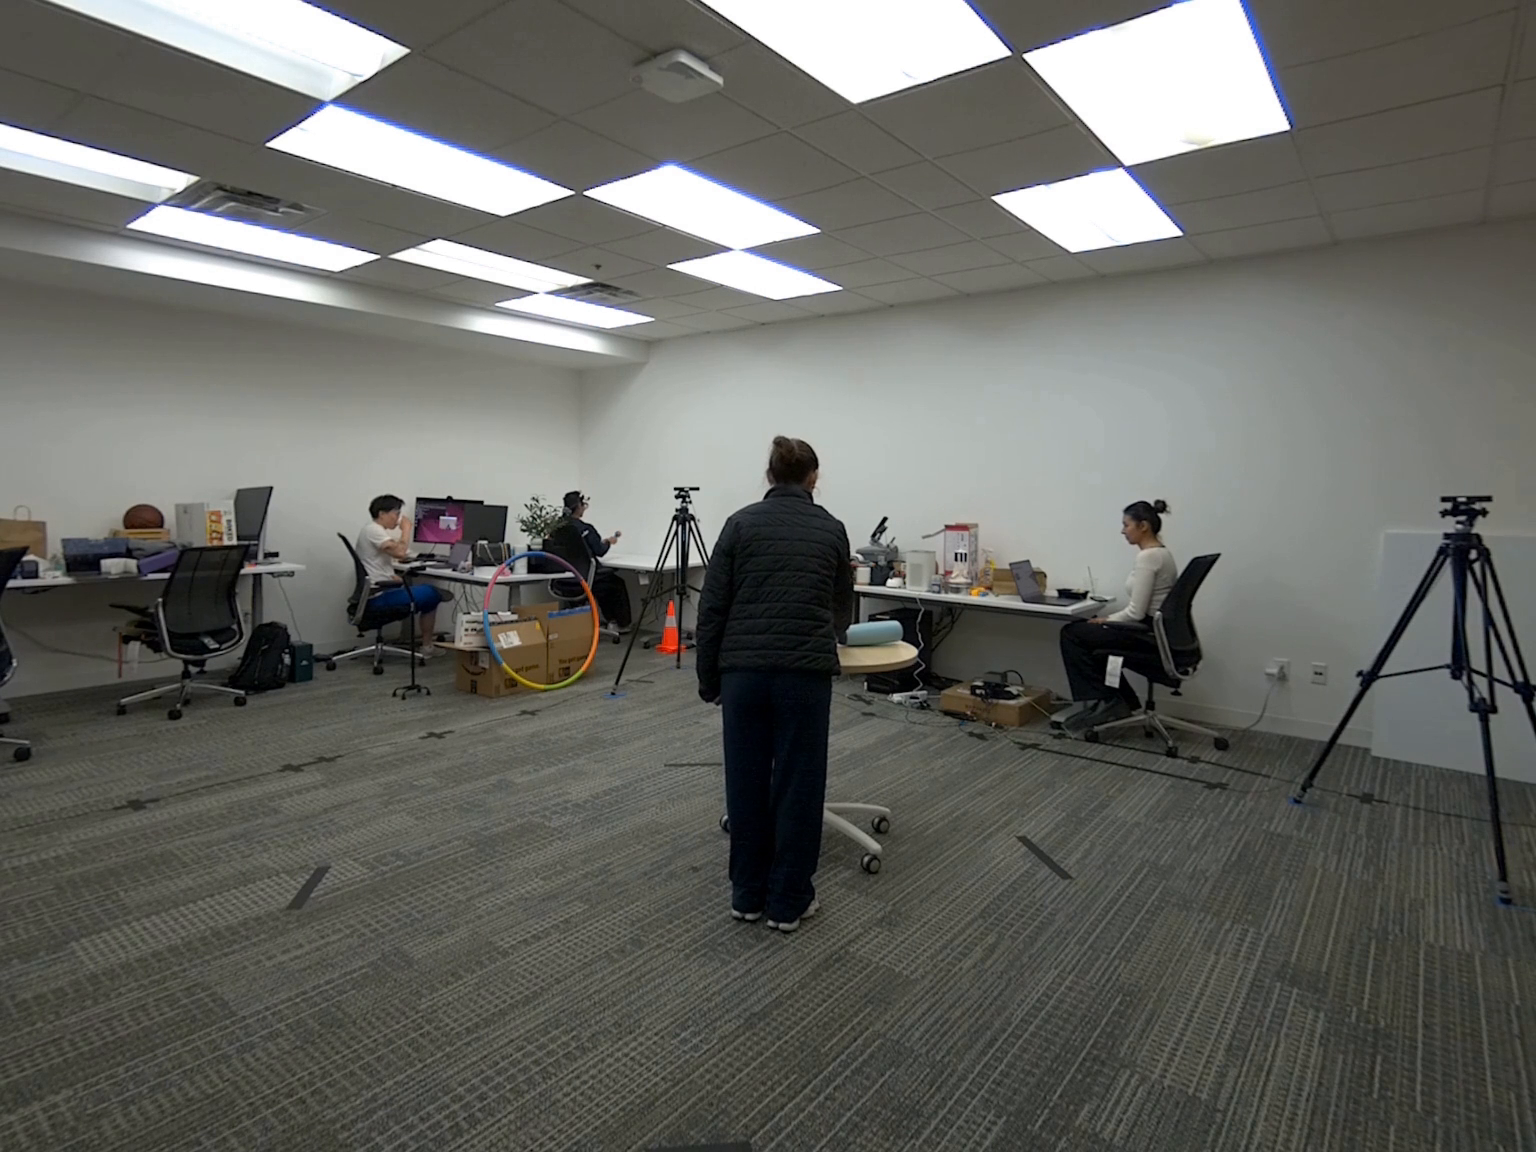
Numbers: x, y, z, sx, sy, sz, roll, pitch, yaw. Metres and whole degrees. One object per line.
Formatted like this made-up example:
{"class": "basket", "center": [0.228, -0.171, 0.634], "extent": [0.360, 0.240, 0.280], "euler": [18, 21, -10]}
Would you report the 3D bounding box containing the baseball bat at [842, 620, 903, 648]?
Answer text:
{"class": "baseball bat", "center": [0.305, 0.237, 3.333], "extent": [0.534, 0.088, 0.091], "euler": [-5, 6, -18]}
